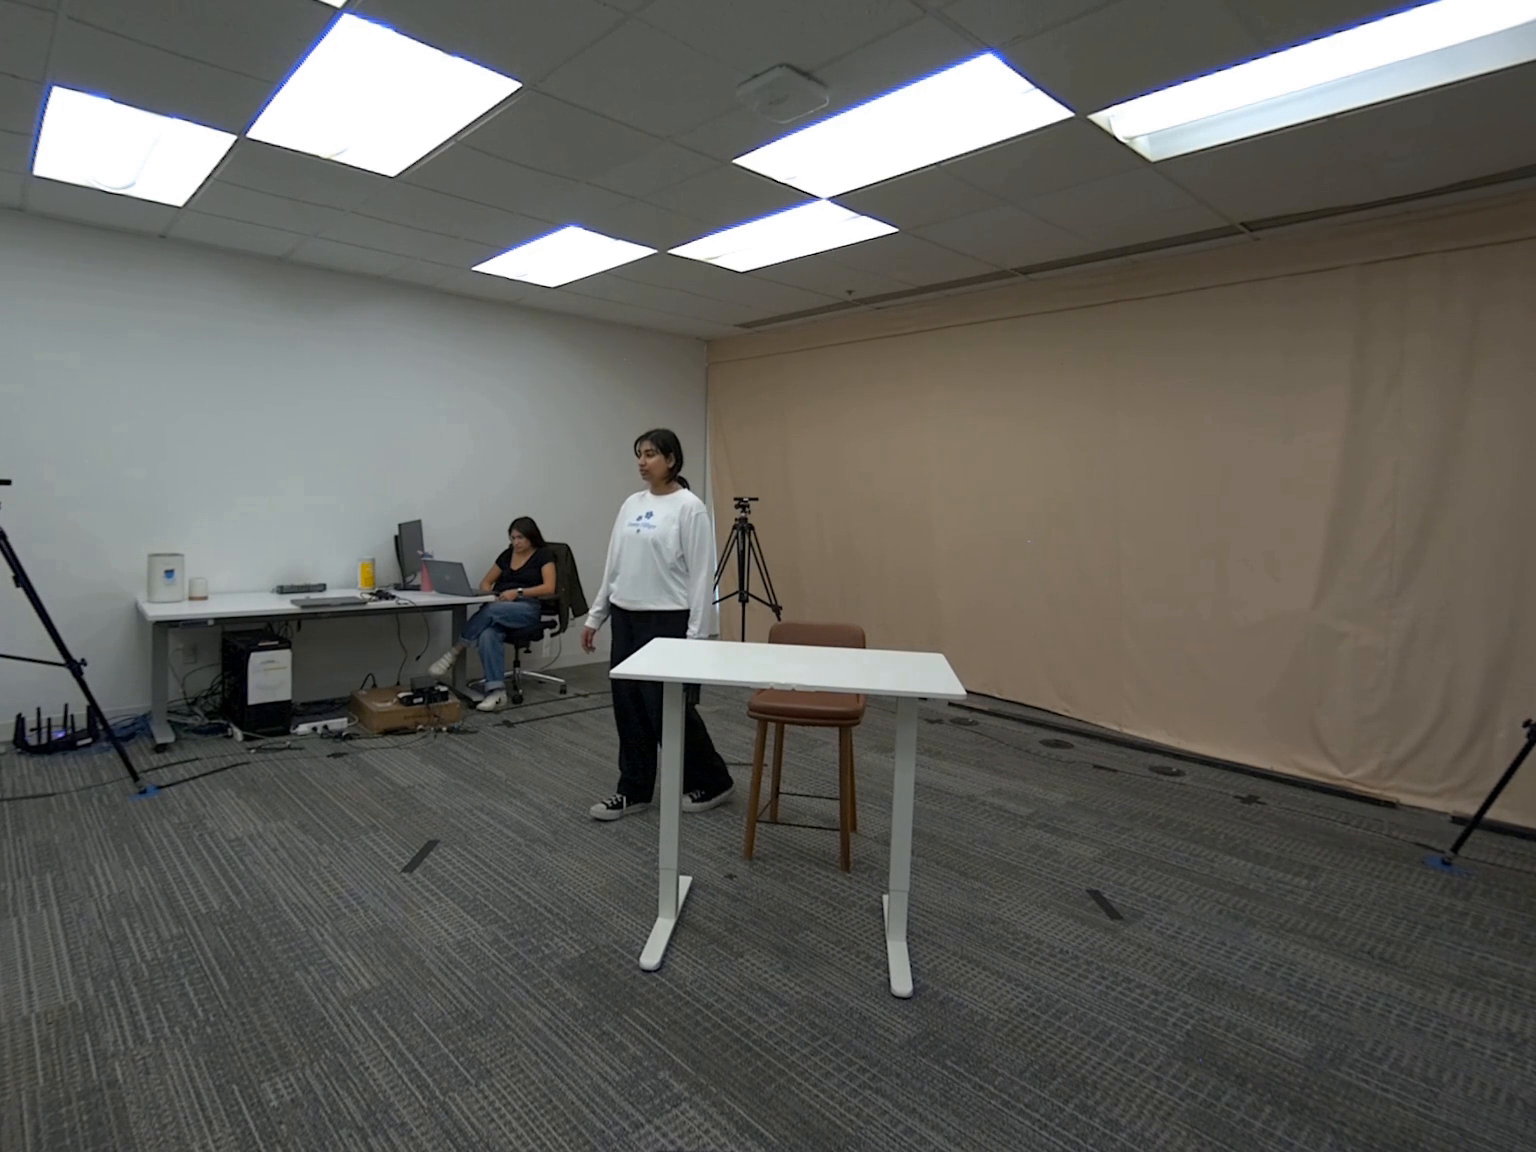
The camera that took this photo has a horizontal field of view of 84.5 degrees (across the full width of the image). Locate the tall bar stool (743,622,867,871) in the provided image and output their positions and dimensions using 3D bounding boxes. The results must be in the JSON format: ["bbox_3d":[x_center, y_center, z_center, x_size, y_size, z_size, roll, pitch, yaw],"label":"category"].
[{"bbox_3d":[0.156,0.657,3.400,0.462,0.889,0.462,2,1,14],"label":"tall bar stool"}]
